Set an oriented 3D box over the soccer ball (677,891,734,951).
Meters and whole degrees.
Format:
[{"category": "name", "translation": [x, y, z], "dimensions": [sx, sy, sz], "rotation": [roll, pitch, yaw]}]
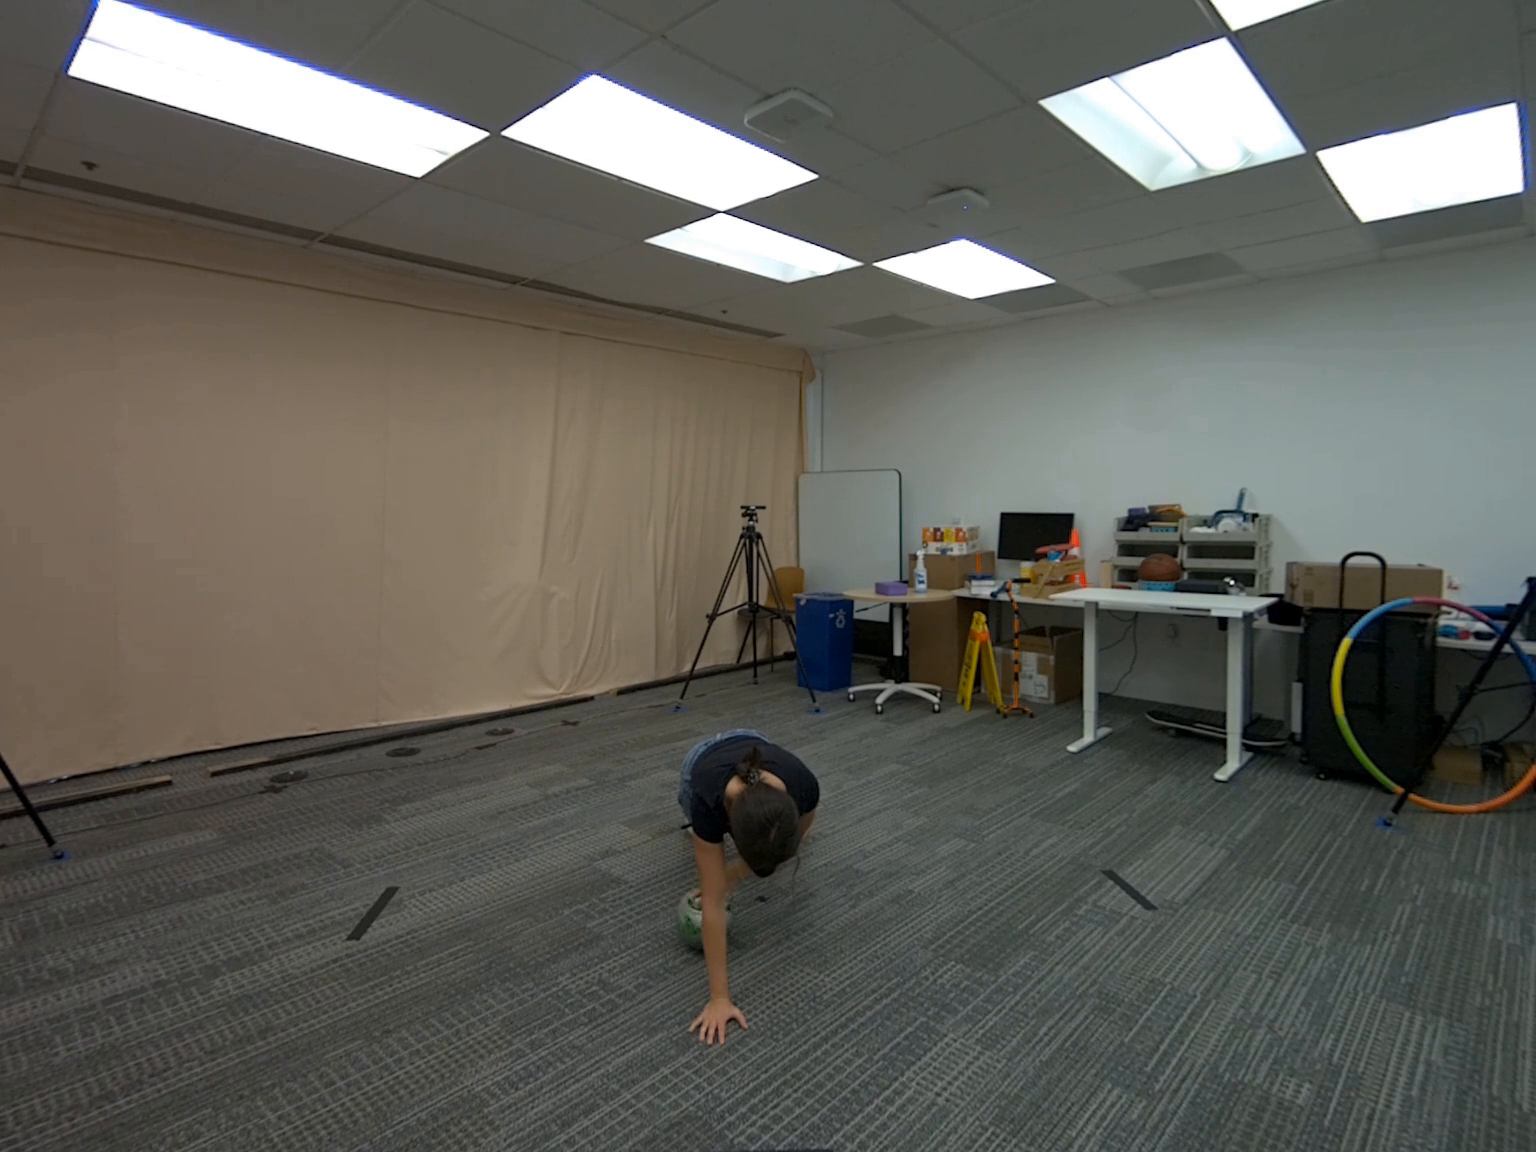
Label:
[{"category": "soccer ball", "translation": [-0.184, 1.072, 2.653], "dimensions": [0.187, 0.187, 0.188], "rotation": [0, 4, -2]}]
